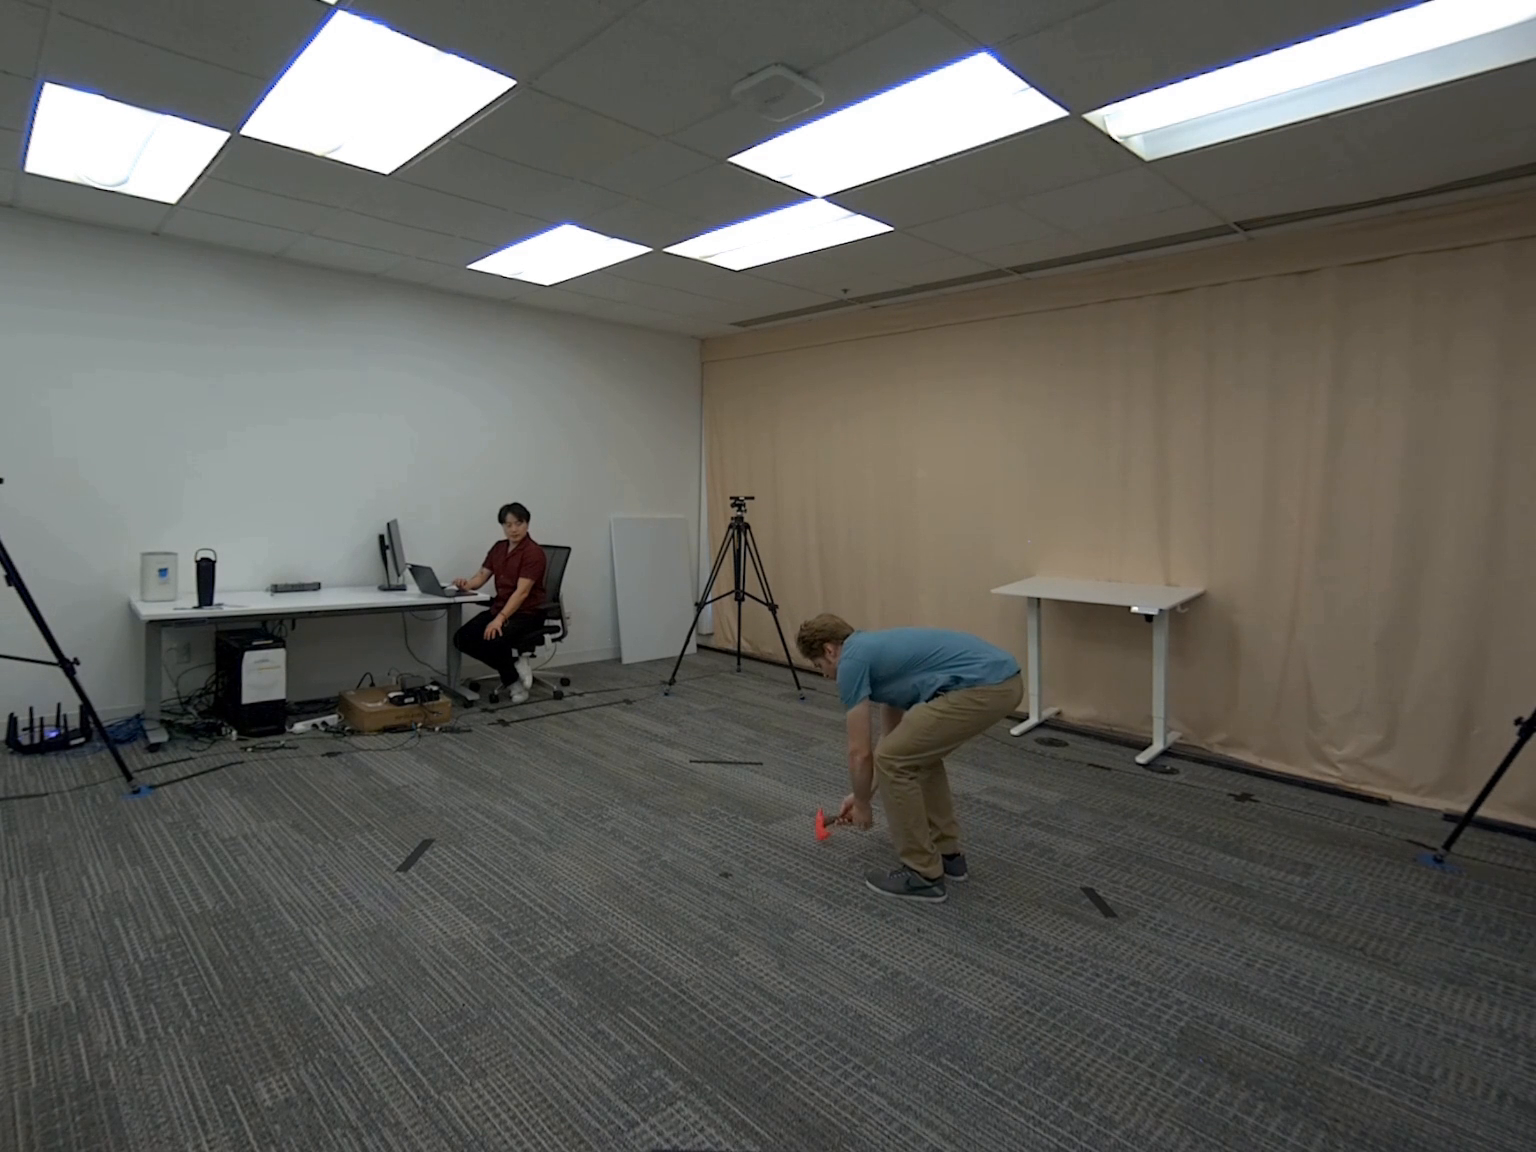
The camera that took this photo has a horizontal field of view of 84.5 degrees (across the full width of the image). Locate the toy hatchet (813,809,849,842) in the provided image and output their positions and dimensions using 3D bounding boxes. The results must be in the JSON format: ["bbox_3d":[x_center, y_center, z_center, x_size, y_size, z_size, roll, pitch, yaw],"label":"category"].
[{"bbox_3d":[0.286,1.012,3.355,0.277,0.132,0.029,2,-32,42],"label":"toy hatchet"}]
